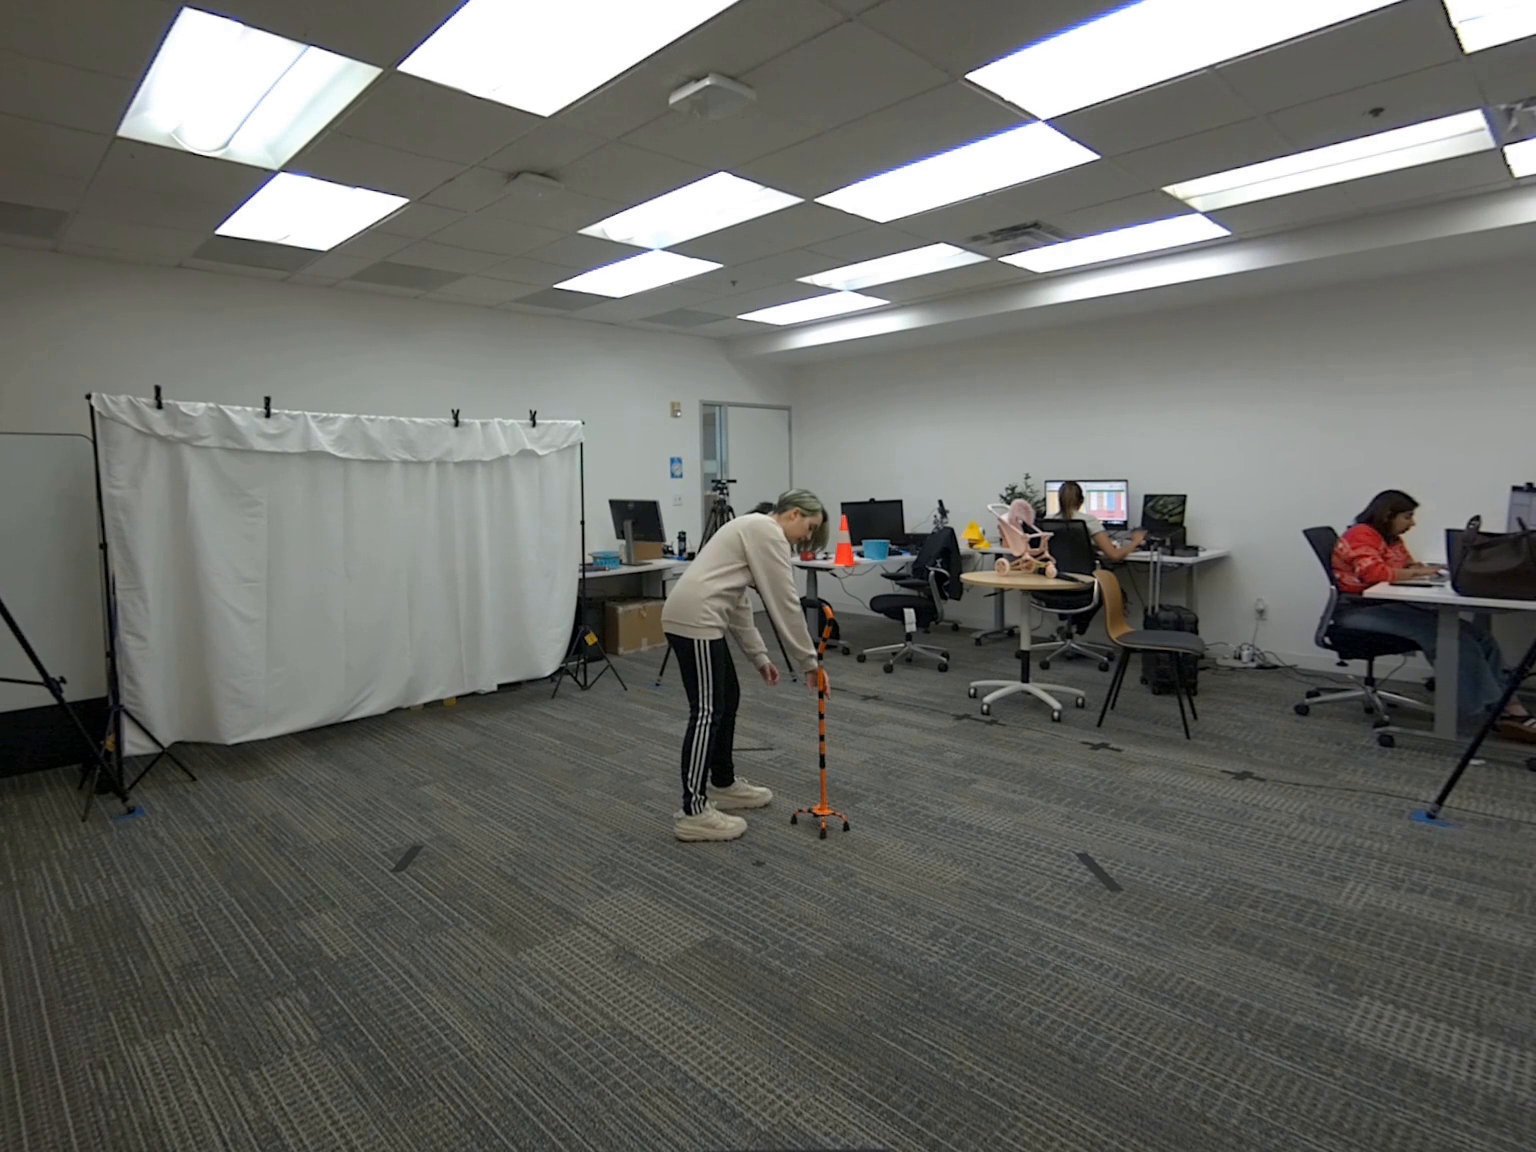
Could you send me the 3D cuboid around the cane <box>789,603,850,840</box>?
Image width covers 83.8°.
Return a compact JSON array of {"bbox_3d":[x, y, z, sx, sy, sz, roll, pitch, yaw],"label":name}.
[{"bbox_3d":[0.200,0.551,3.398,0.148,0.904,0.212,-4,5,-36],"label":"cane"}]
